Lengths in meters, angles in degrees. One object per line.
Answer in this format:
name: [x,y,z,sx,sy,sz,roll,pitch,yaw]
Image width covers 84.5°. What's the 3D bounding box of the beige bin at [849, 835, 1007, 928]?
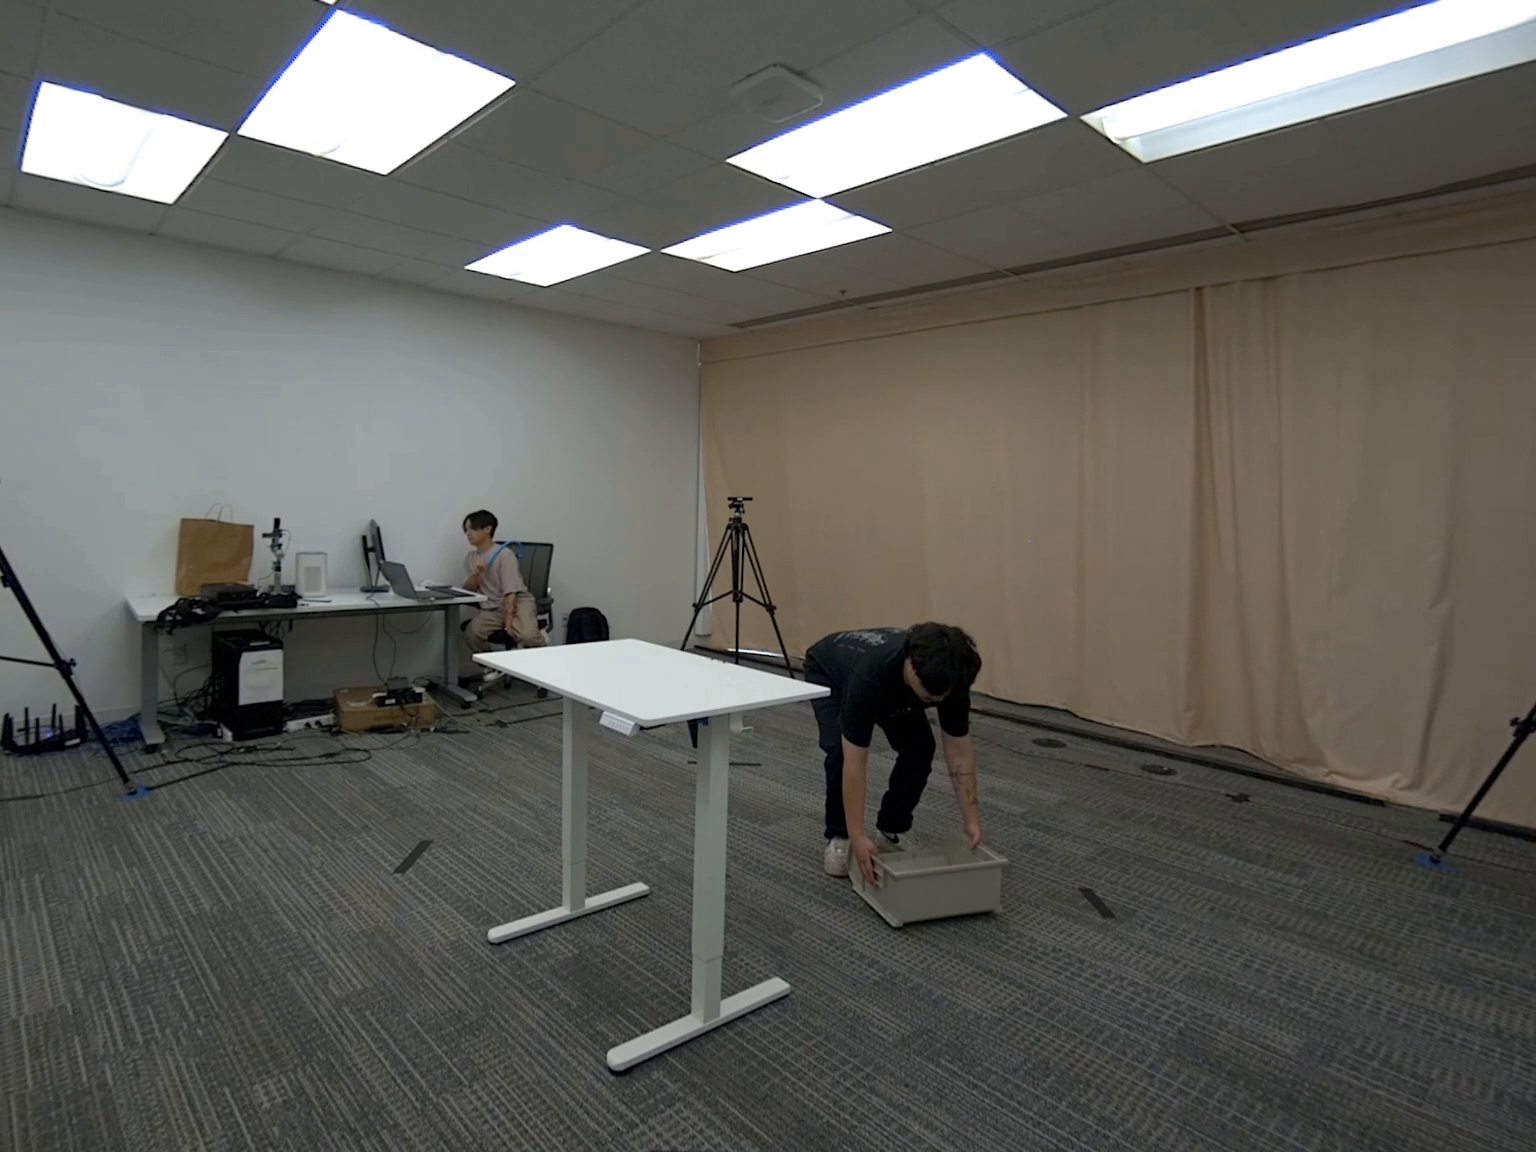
beige bin: [0.538,1.033,2.941,0.416,0.188,0.384,-1,5,-19]
